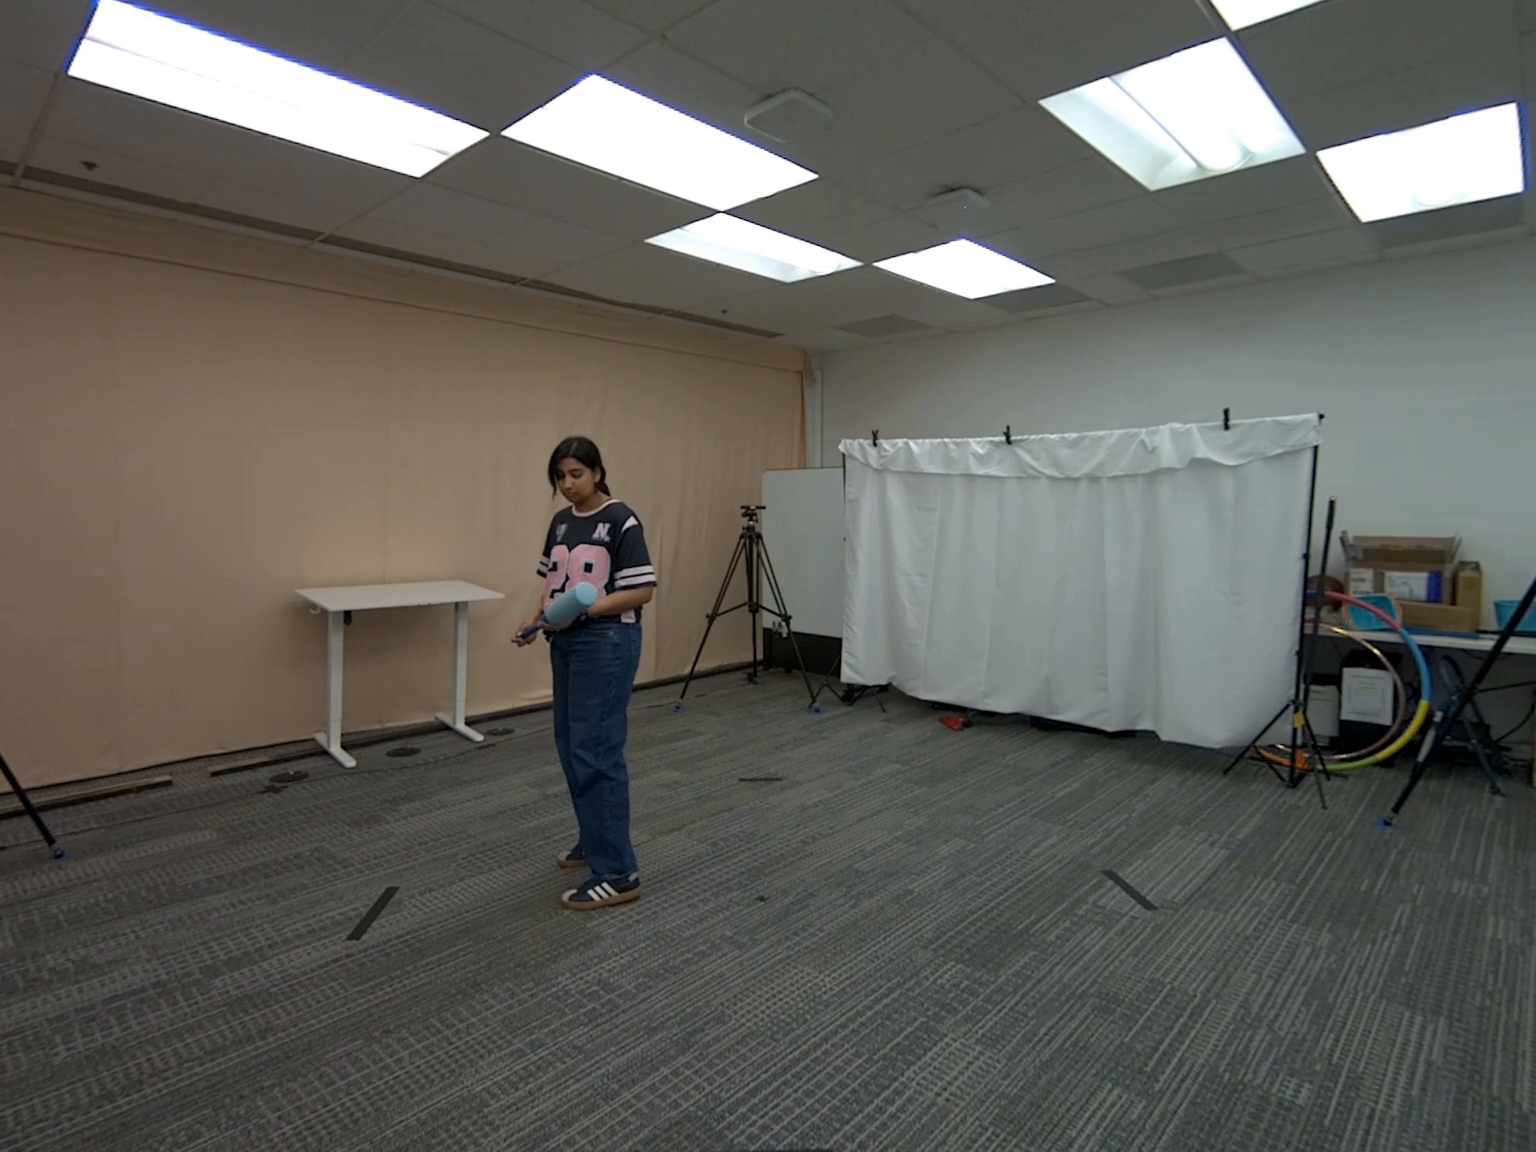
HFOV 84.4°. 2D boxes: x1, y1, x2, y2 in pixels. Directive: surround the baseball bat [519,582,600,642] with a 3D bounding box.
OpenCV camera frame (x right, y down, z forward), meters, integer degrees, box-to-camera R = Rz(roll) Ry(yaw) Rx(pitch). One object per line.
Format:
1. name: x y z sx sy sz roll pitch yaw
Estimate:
1. baseball bat: -0.743 0.143 2.918 0.086 0.090 0.553 -3 -17 -39
